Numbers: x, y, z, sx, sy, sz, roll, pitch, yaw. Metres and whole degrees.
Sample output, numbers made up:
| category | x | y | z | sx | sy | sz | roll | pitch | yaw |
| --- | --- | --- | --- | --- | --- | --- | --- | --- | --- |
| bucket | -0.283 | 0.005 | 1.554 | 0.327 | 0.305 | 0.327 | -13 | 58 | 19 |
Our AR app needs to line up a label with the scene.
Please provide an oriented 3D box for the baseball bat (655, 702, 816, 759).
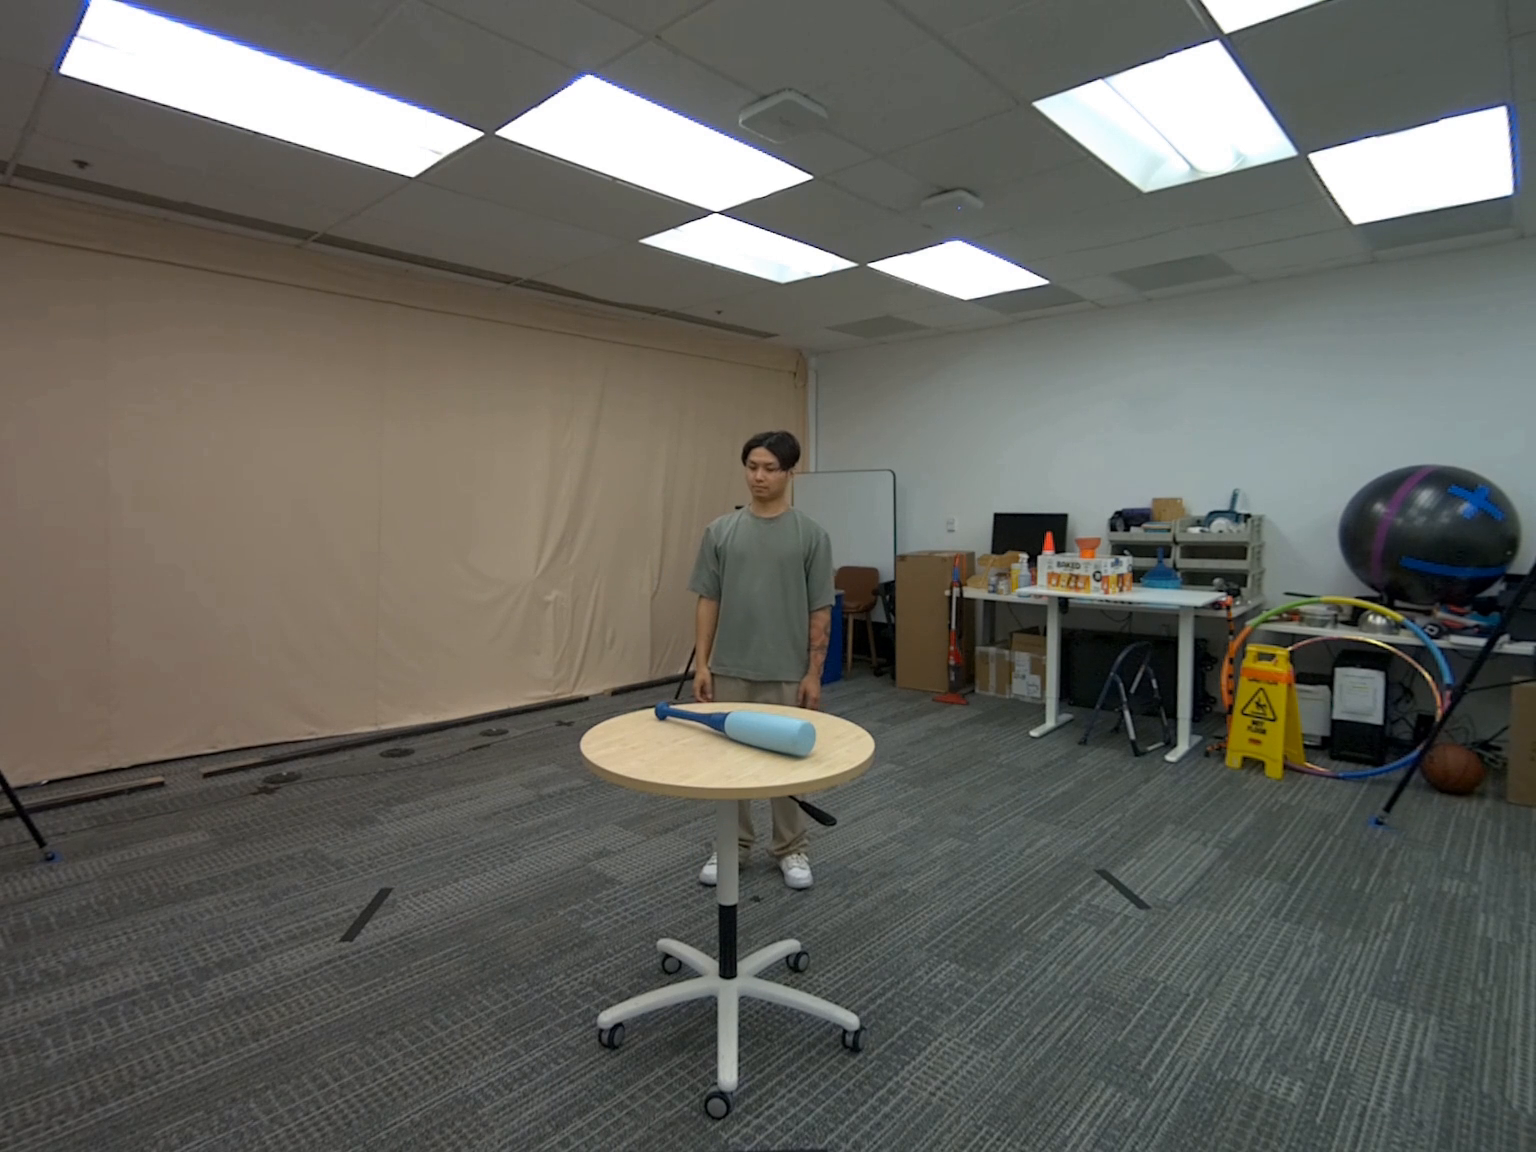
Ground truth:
| category | x | y | z | sx | sy | sz | roll | pitch | yaw |
| --- | --- | --- | --- | --- | --- | --- | --- | --- | --- |
| baseball bat | -0.105 | 0.388 | 2.219 | 0.561 | 0.089 | 0.086 | 2 | 4 | 43 |
